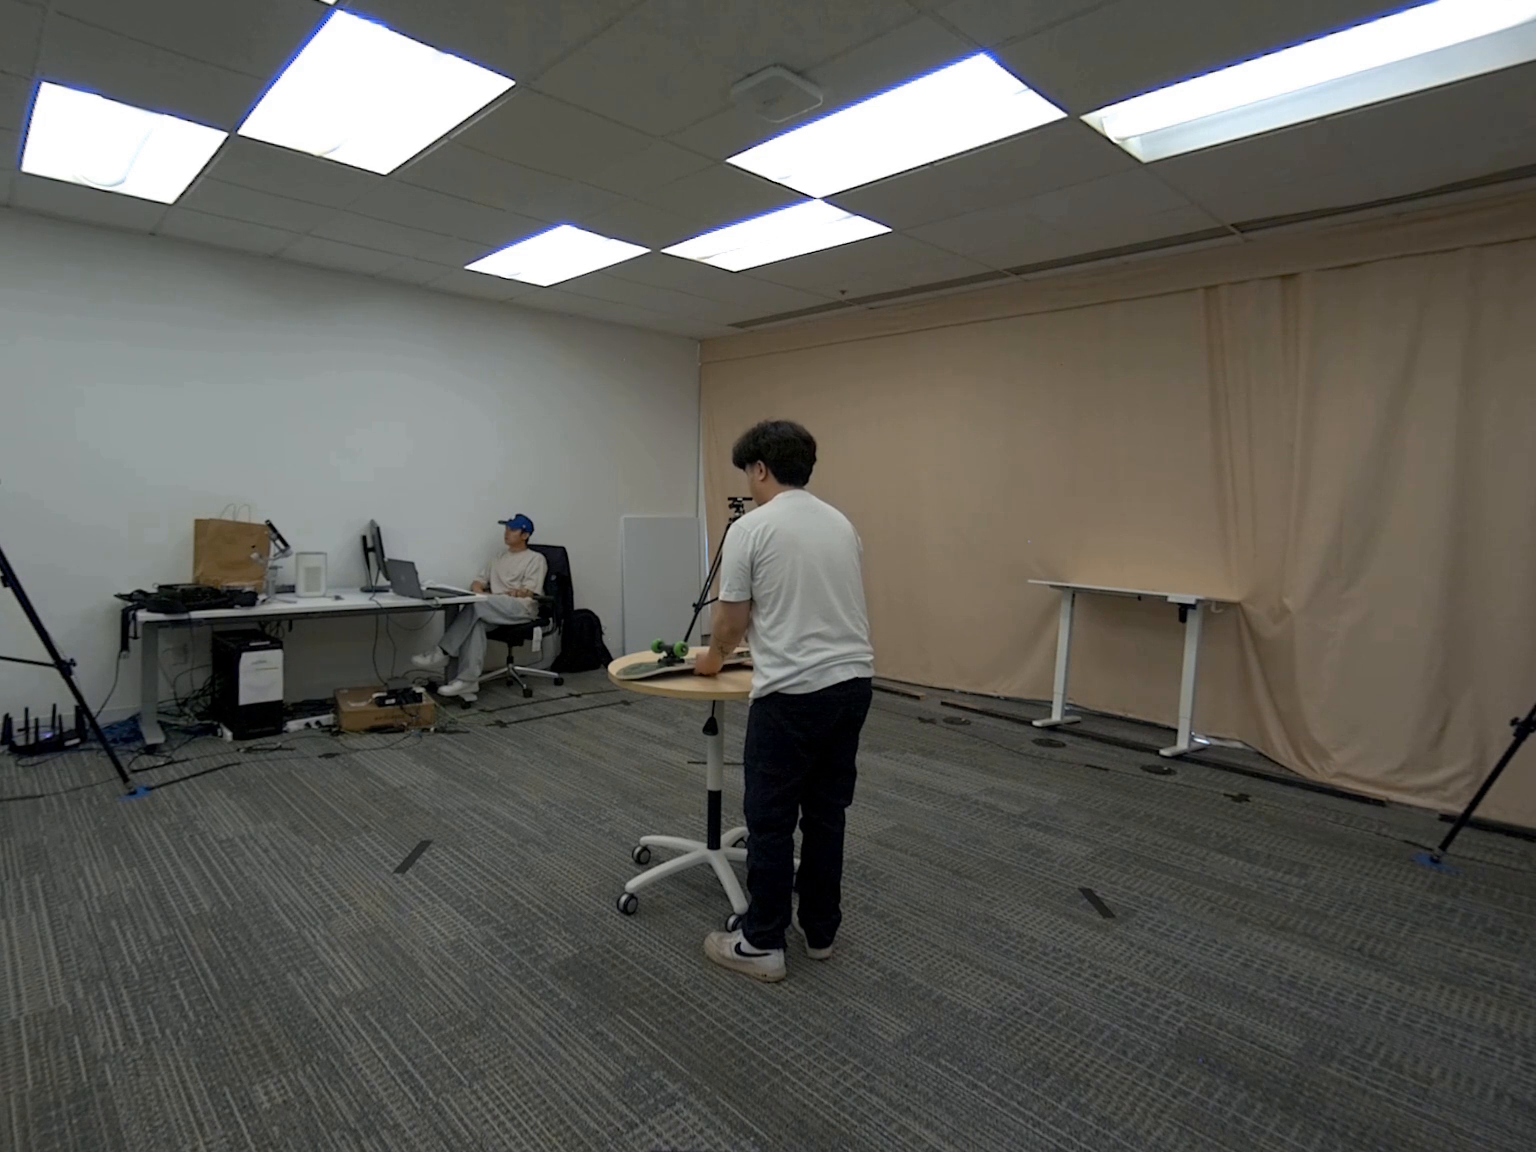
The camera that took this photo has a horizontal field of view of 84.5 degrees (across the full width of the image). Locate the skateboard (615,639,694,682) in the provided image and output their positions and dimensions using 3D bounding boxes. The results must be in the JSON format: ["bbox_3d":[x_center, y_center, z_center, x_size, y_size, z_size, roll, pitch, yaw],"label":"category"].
[{"bbox_3d":[-0.181,0.272,2.972,0.769,0.110,0.198,-3,4,-34],"label":"skateboard"}]
